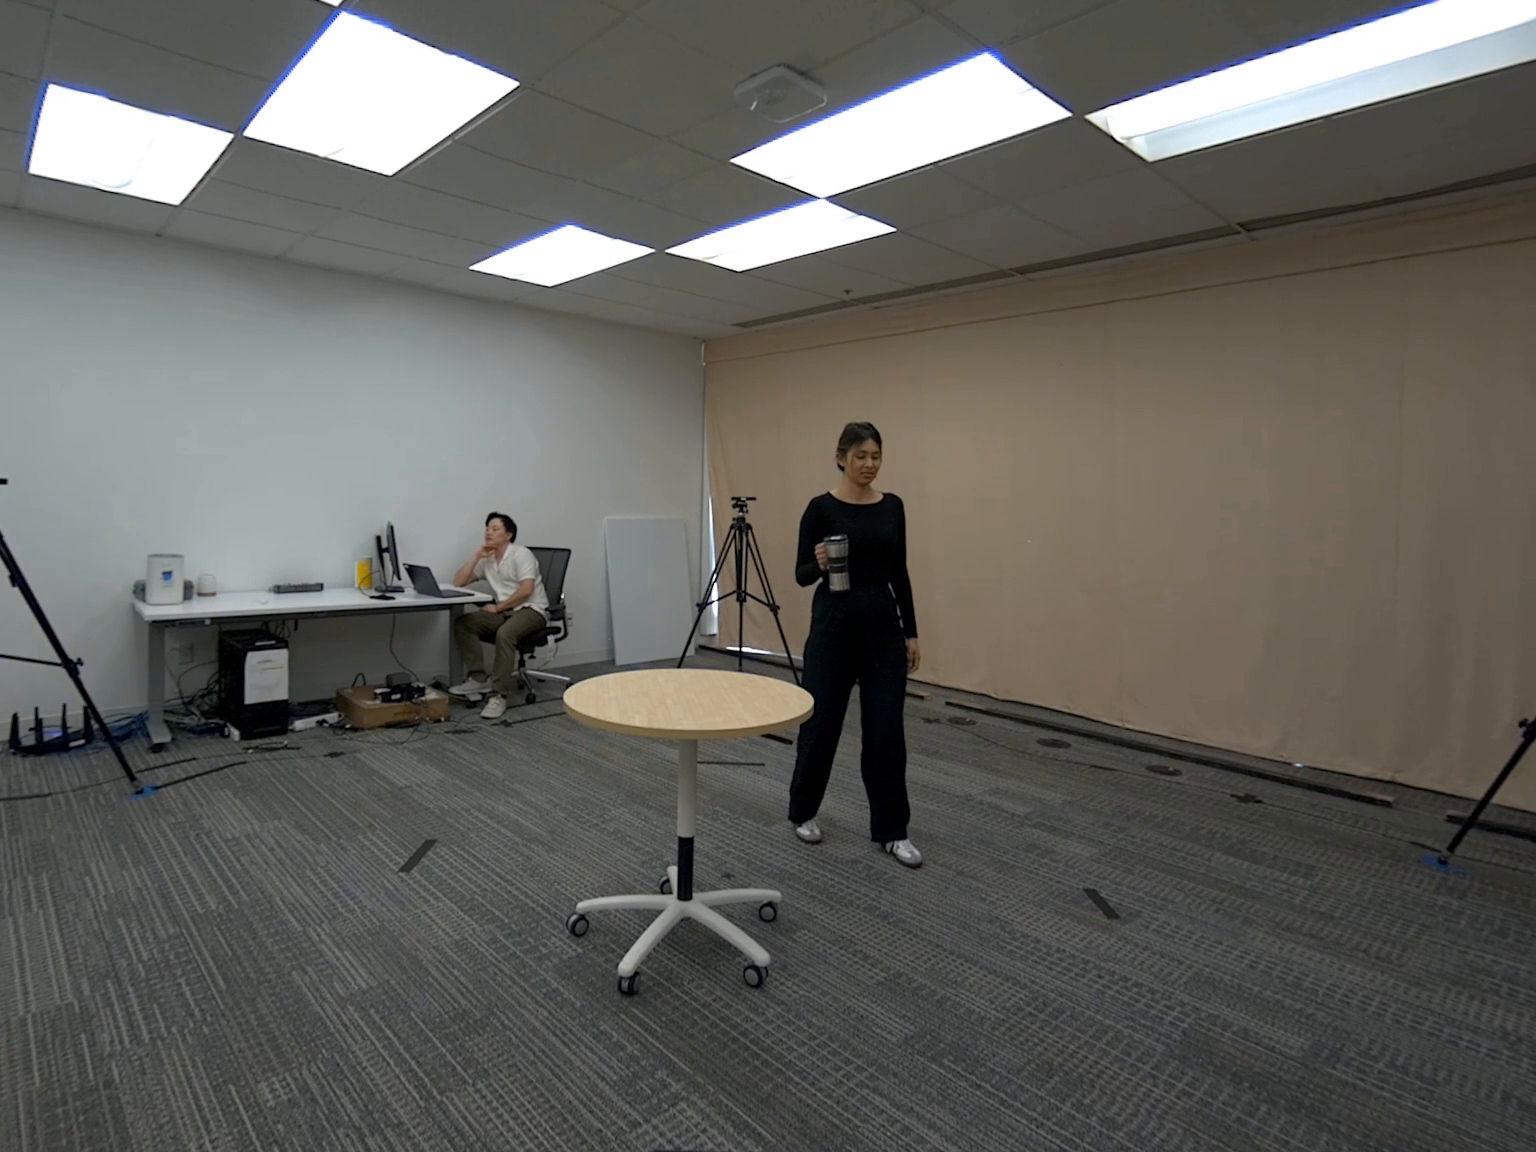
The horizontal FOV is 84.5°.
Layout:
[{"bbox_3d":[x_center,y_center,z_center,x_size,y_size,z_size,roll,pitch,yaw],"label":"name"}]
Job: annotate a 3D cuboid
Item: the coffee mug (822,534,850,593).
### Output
[{"bbox_3d":[0.258,-0.049,3.074,0.089,0.201,0.122,-7,10,13],"label":"coffee mug"}]
